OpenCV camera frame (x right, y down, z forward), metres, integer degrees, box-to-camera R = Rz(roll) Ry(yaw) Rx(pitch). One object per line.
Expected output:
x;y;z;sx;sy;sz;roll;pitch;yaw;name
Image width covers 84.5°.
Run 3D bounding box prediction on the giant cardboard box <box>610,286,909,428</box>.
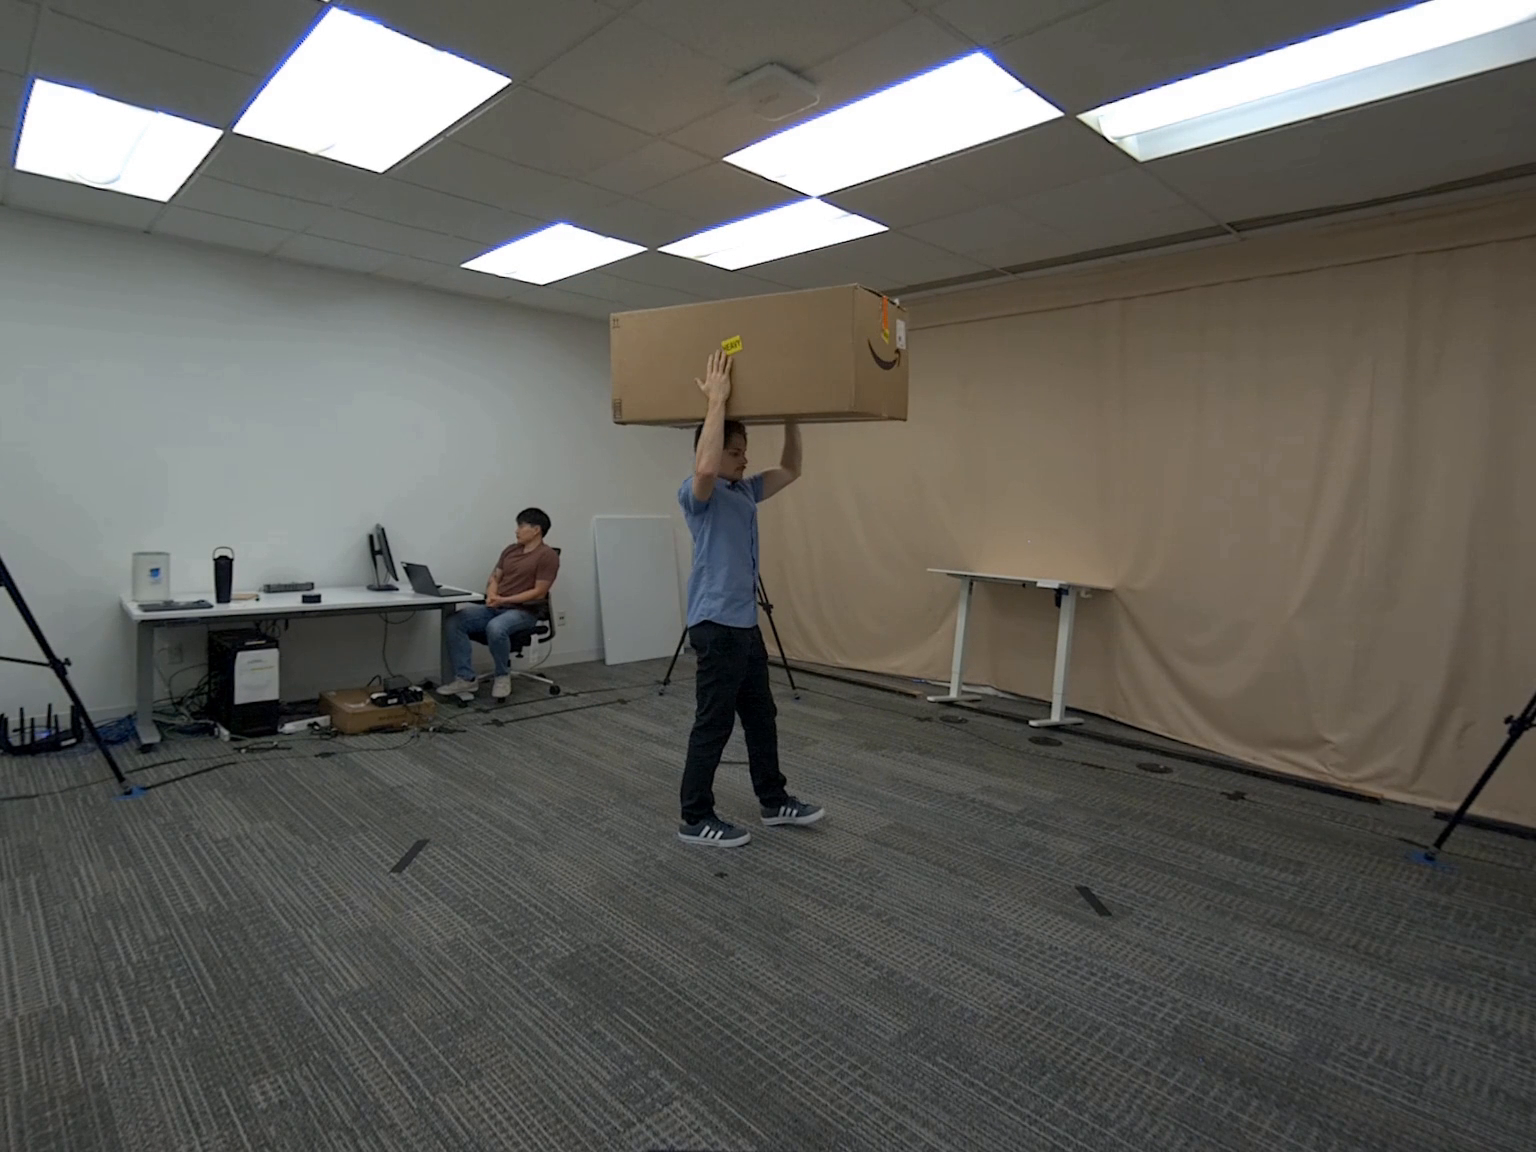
-0.036;-0.816;3.289;1.047;0.424;0.568;4;8;28;giant cardboard box
